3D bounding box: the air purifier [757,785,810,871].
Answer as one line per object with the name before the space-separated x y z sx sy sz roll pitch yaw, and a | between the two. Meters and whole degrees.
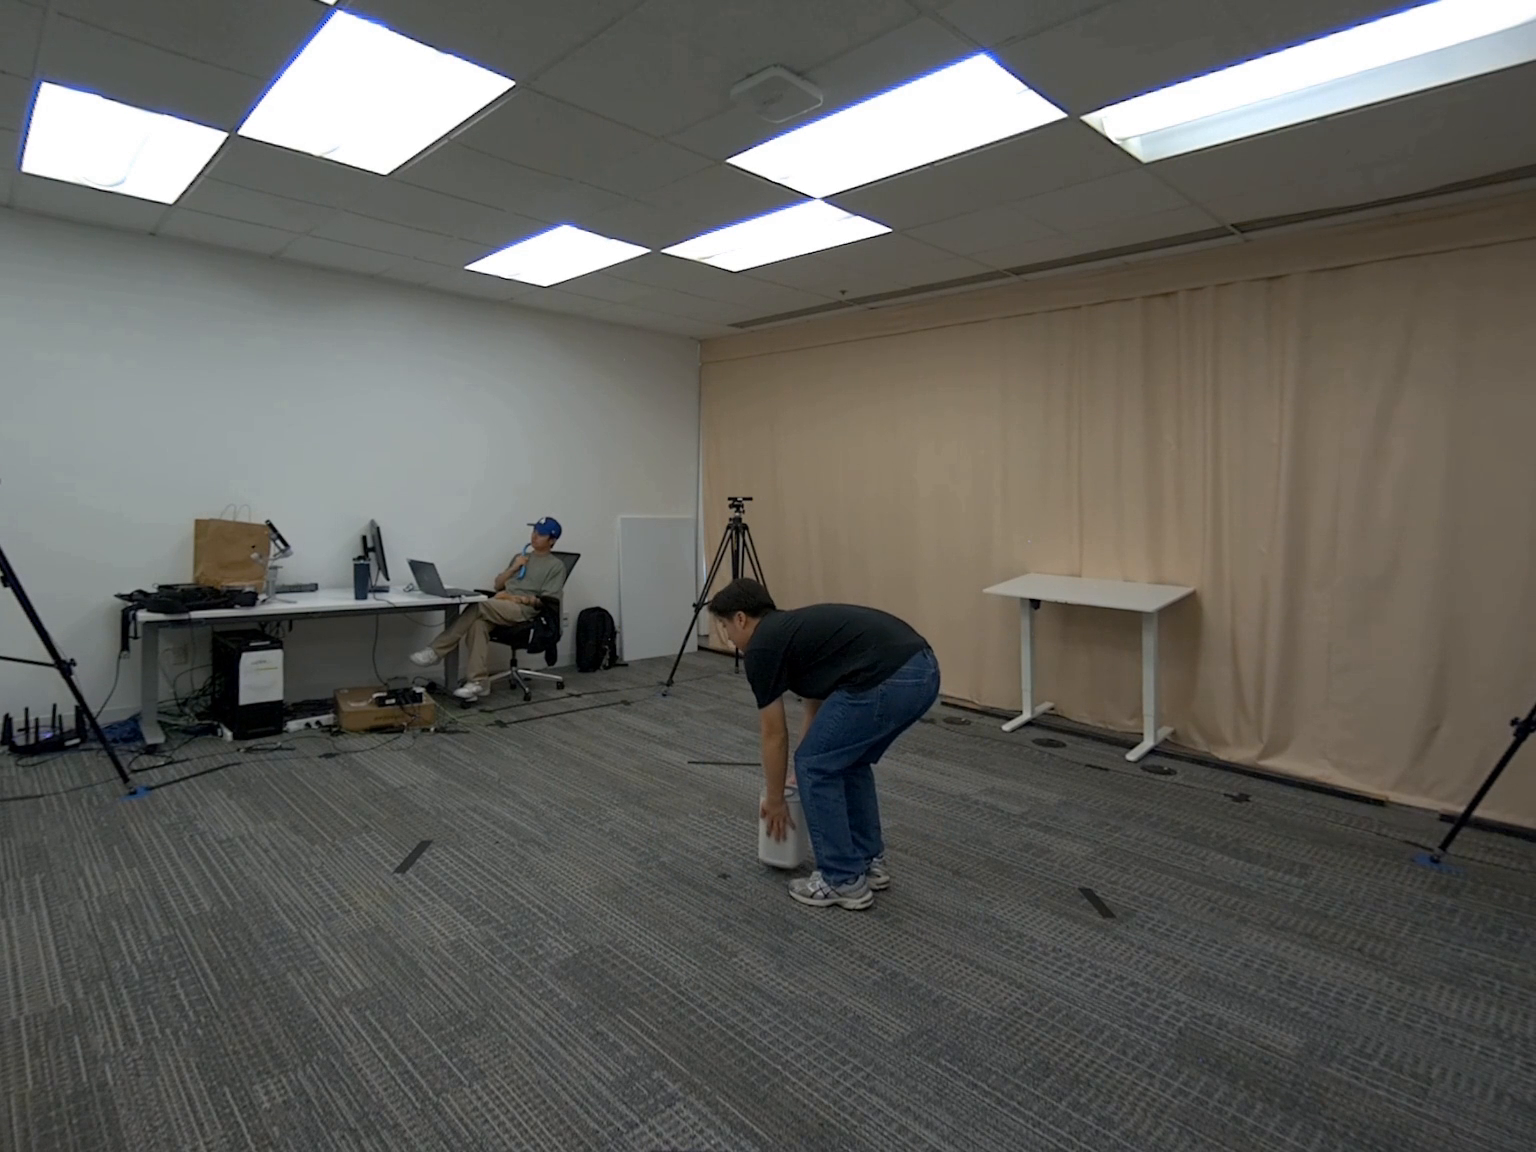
air purifier | 0.056 0.935 3.173 0.175 0.265 0.168 3 2 22
